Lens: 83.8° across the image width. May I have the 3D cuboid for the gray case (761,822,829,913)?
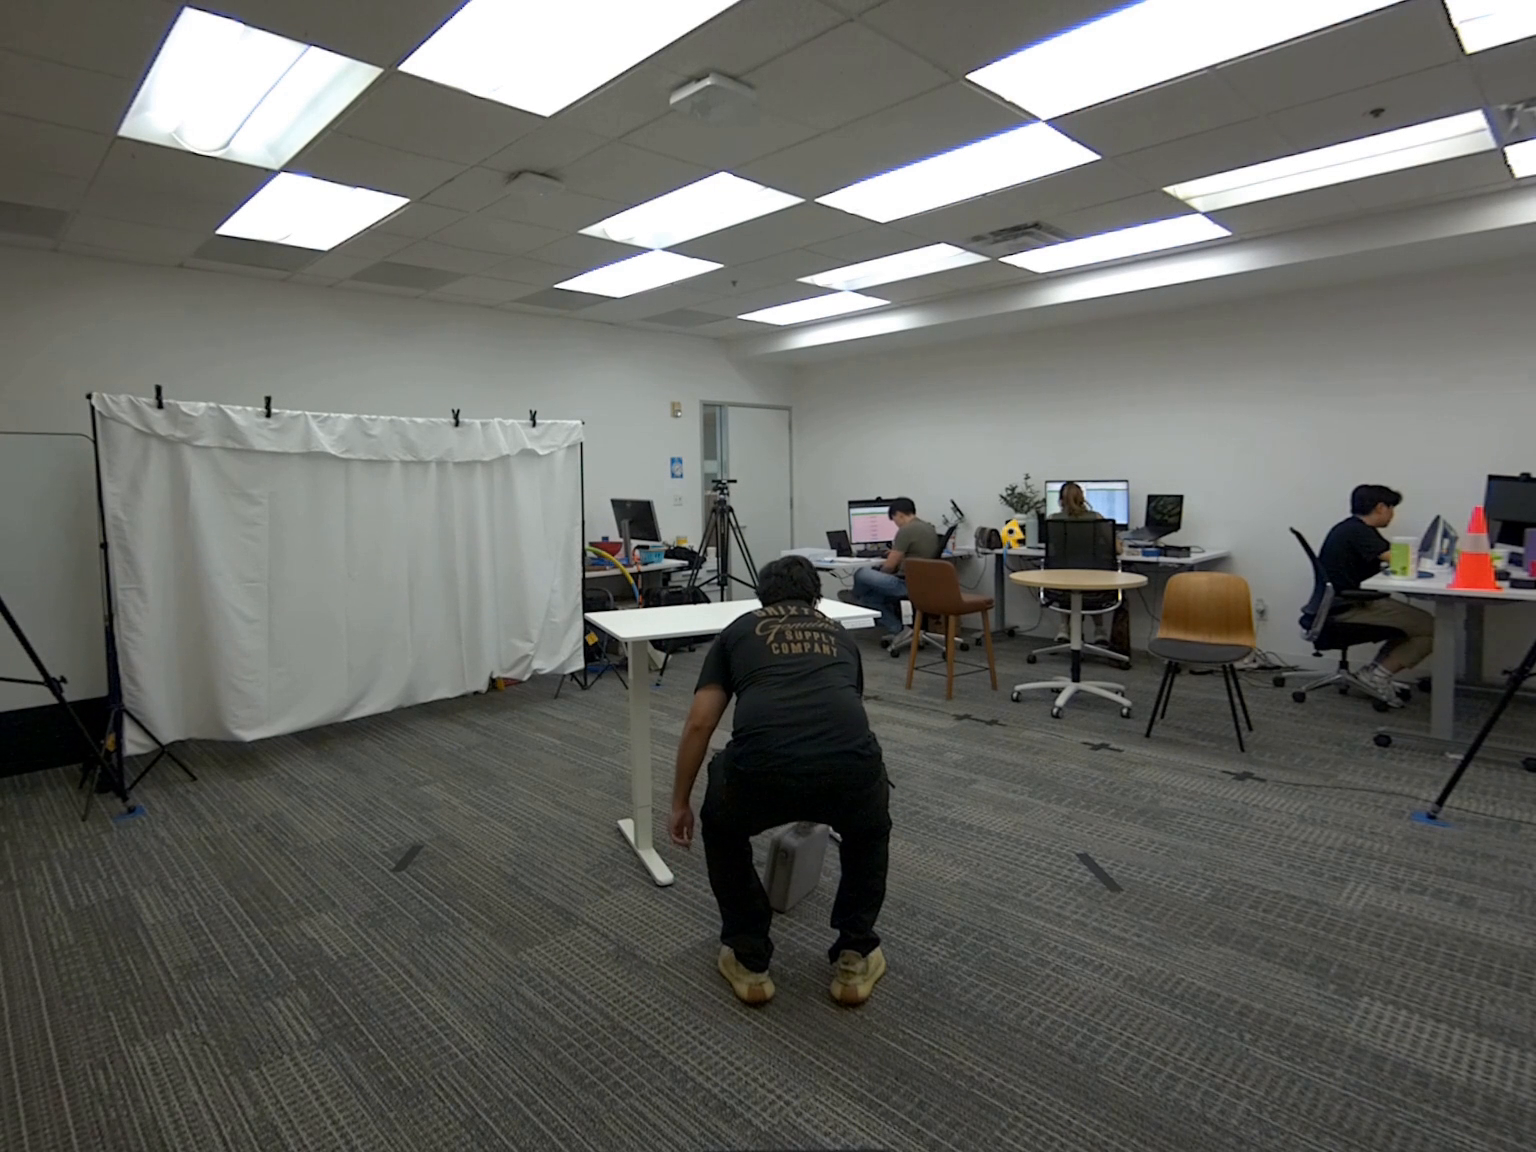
[{"bbox_3d":[0.099,0.943,2.841,0.108,0.258,0.250,15,13,34],"label":"gray case"}]
